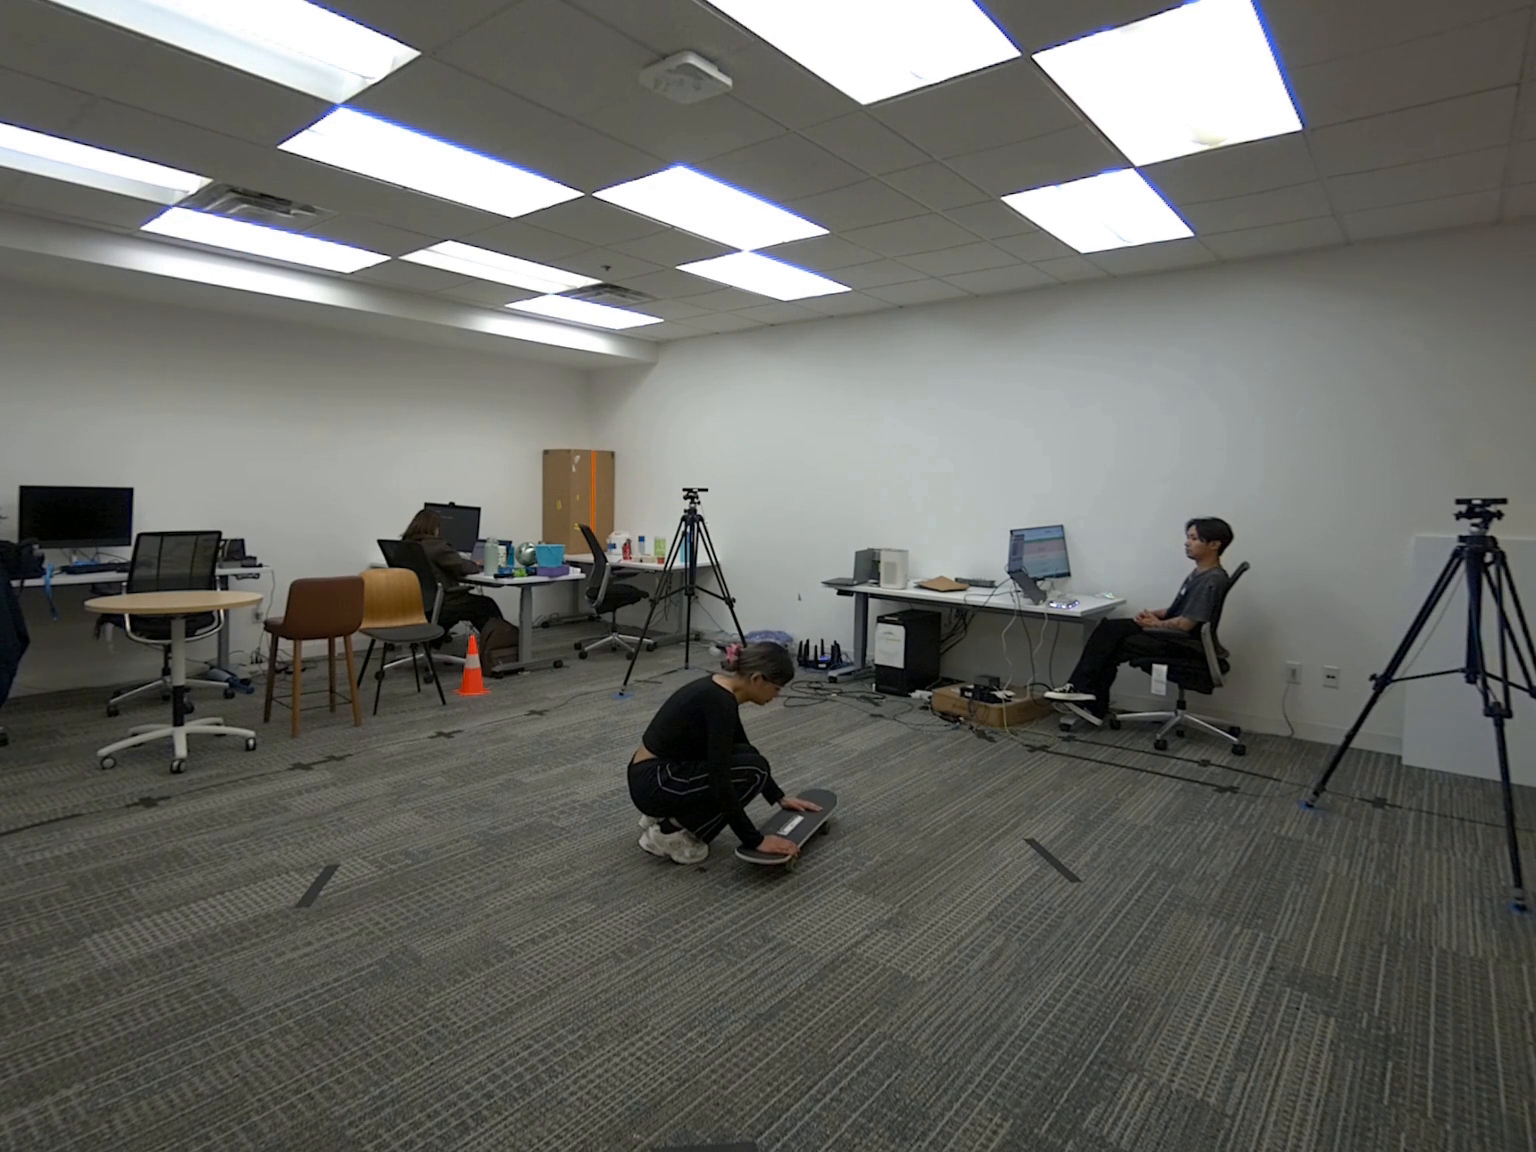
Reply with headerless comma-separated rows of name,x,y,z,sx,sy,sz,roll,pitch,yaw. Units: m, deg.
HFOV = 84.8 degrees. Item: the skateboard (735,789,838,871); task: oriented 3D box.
skateboard,0.084,1.001,3.311,0.198,0.110,0.769,3,6,22
